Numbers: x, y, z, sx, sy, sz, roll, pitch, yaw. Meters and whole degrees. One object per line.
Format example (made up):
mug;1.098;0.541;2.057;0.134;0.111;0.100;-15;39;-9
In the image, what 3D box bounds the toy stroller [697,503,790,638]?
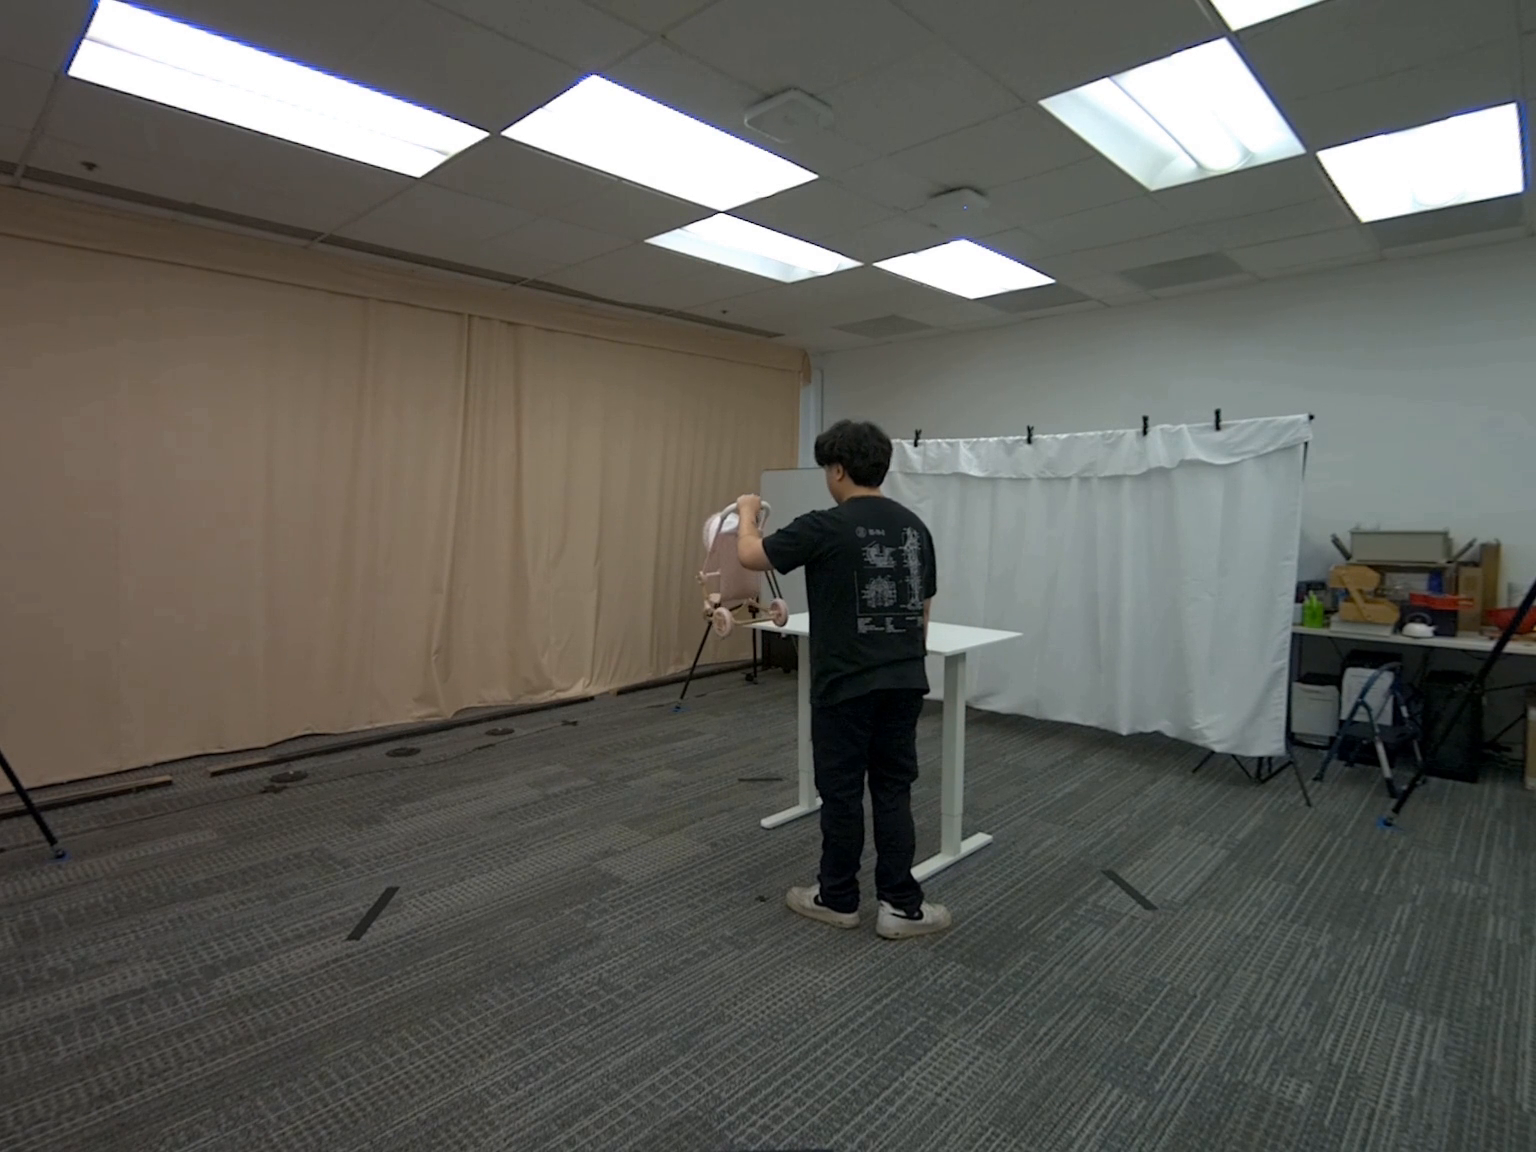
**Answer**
toy stroller;-0.126;-0.005;3.192;0.275;0.533;0.350;-6;4;-28
